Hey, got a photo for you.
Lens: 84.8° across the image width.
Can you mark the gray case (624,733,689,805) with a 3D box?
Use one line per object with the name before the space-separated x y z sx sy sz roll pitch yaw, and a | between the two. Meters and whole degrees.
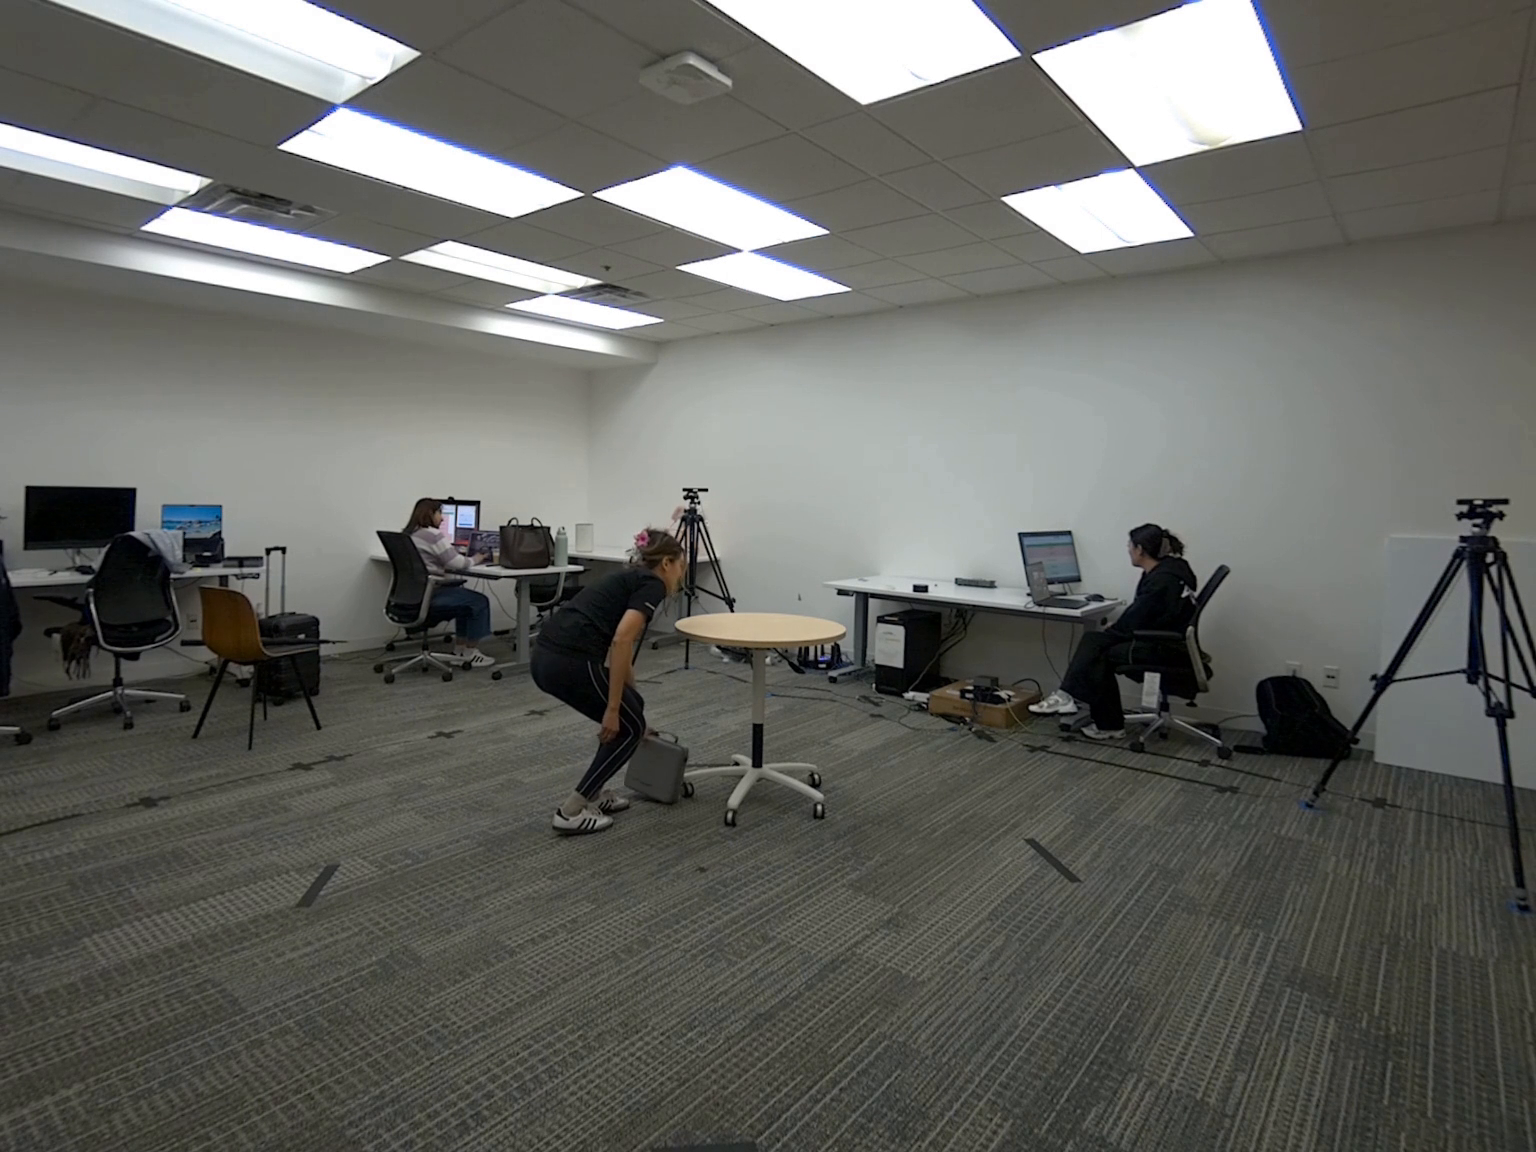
gray case | -0.522 0.850 3.816 0.265 0.261 0.101 12 -4 29
